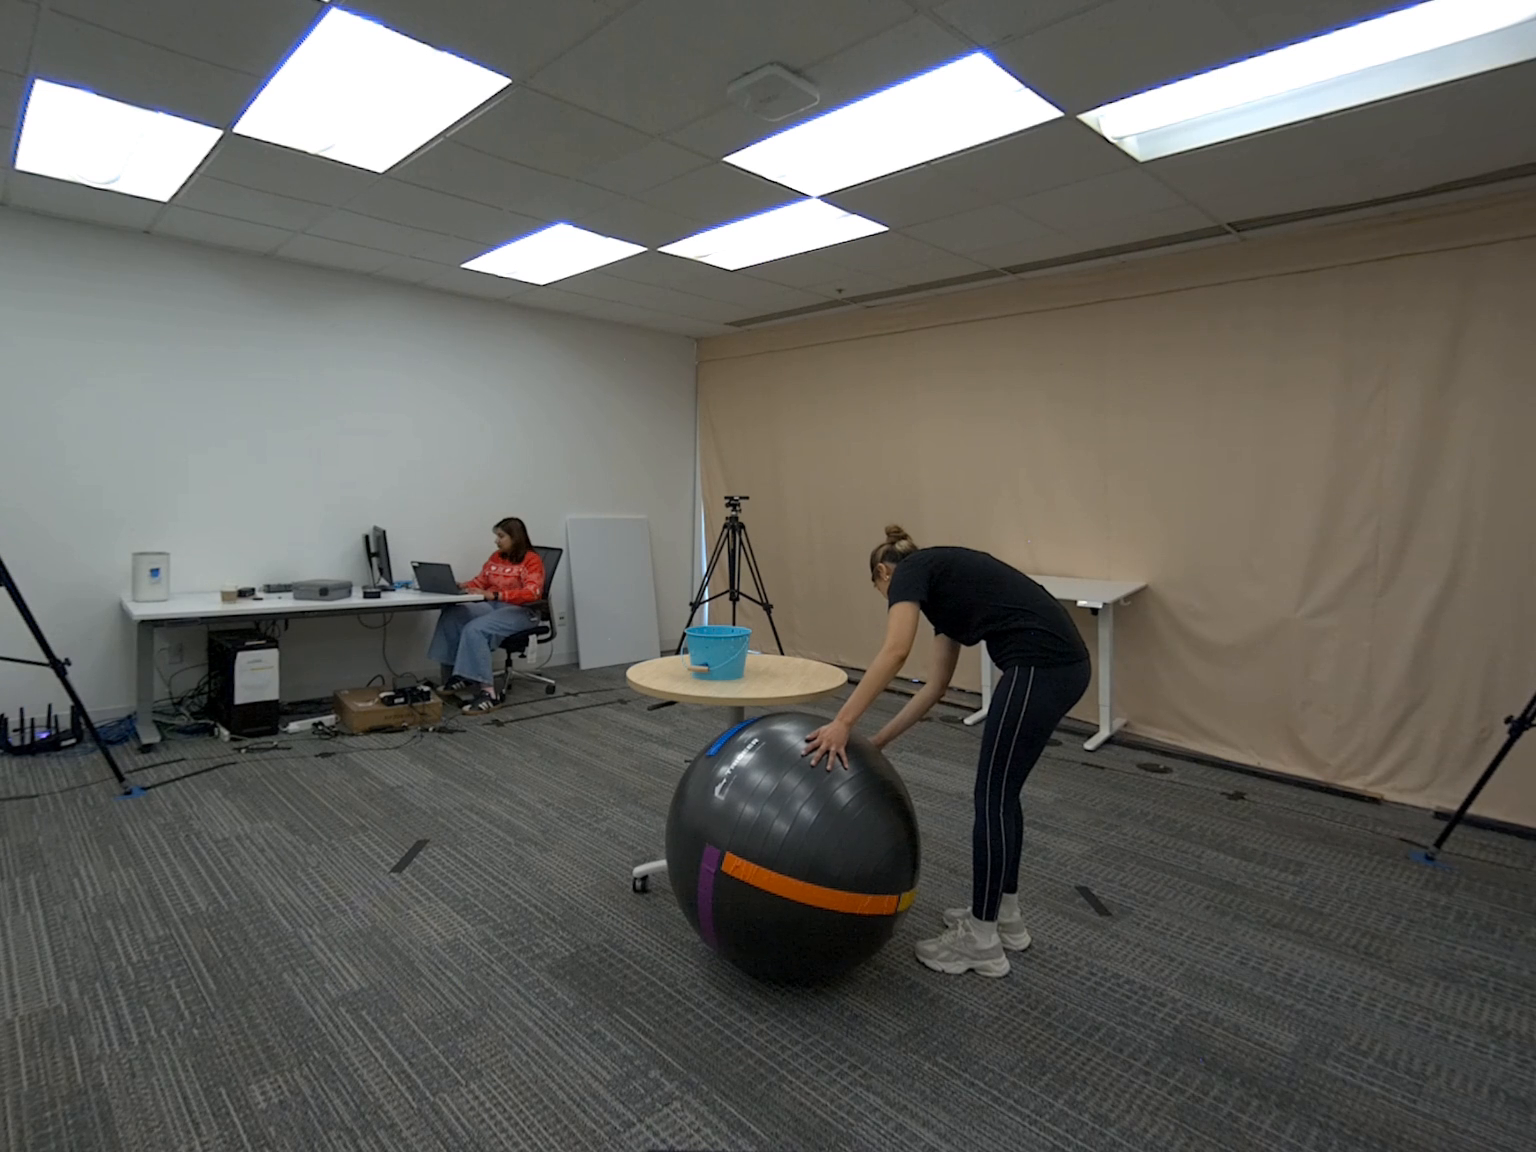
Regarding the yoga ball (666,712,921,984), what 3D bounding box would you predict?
[{"bbox_3d":[0.069,0.807,2.510,0.757,0.756,0.761,1,4,-1],"label":"yoga ball"}]
